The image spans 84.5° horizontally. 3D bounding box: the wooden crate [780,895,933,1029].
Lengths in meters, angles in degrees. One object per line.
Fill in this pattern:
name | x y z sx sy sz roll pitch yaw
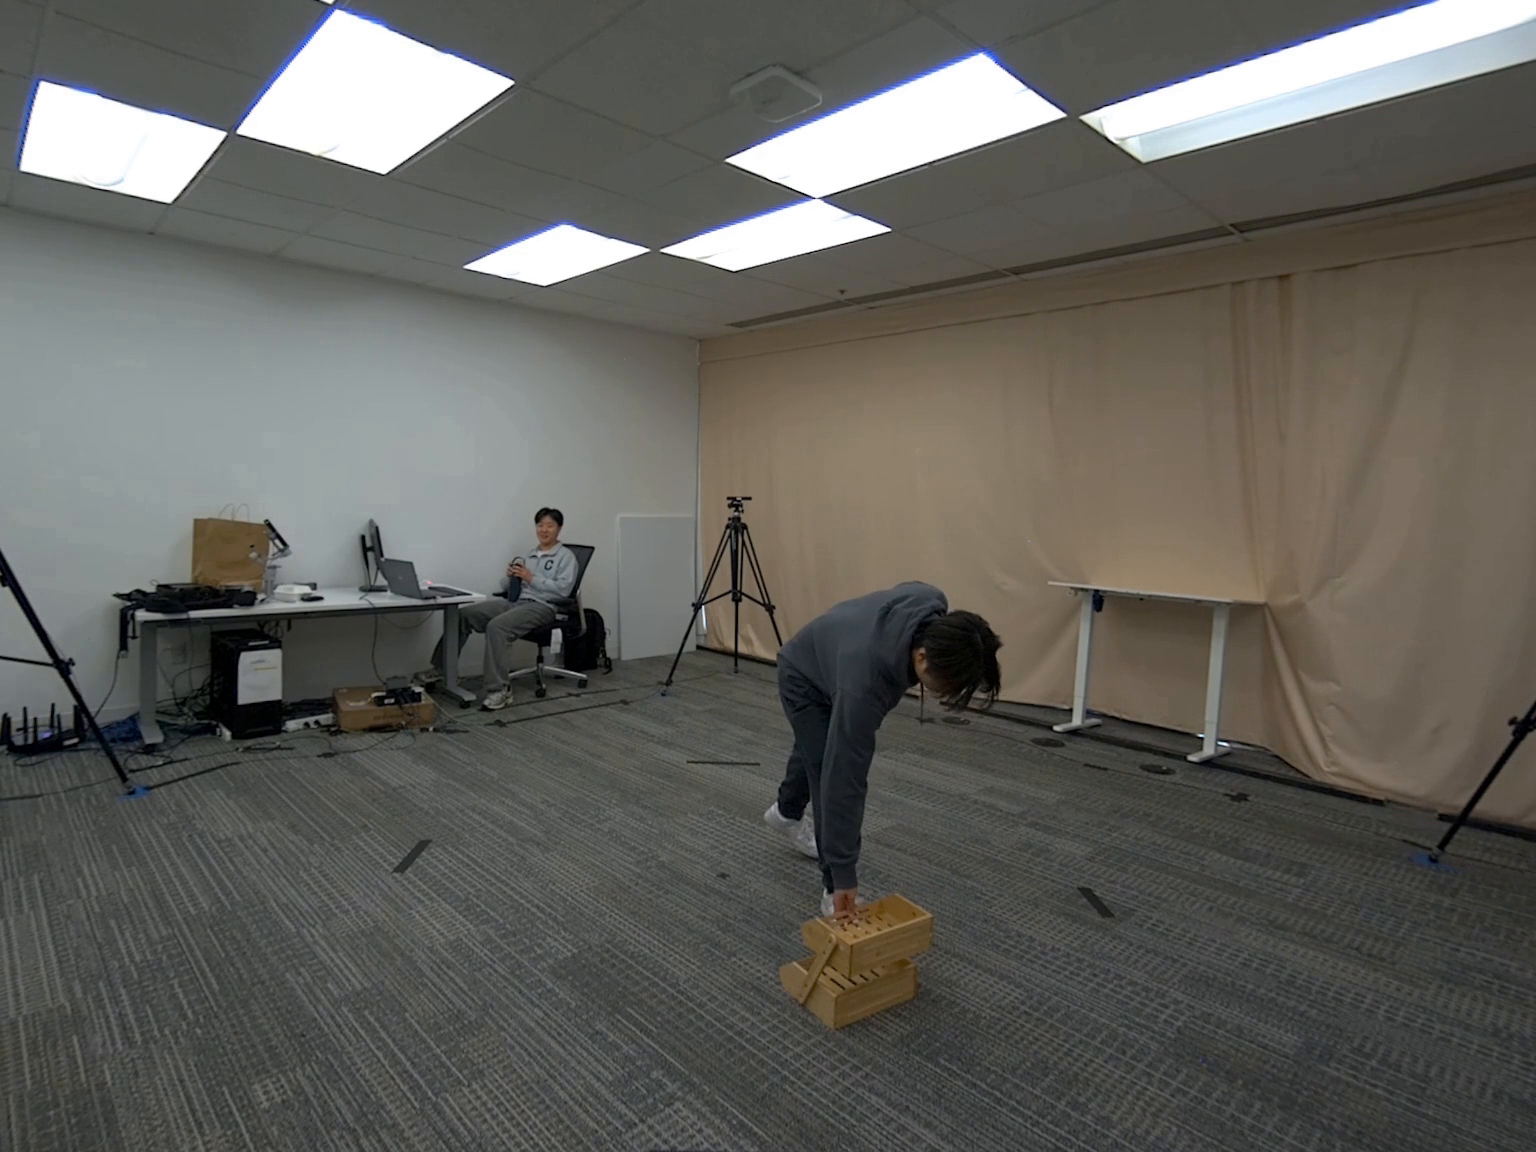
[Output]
wooden crate | 0.236 1.048 2.368 0.317 0.272 0.309 -2 6 -35
